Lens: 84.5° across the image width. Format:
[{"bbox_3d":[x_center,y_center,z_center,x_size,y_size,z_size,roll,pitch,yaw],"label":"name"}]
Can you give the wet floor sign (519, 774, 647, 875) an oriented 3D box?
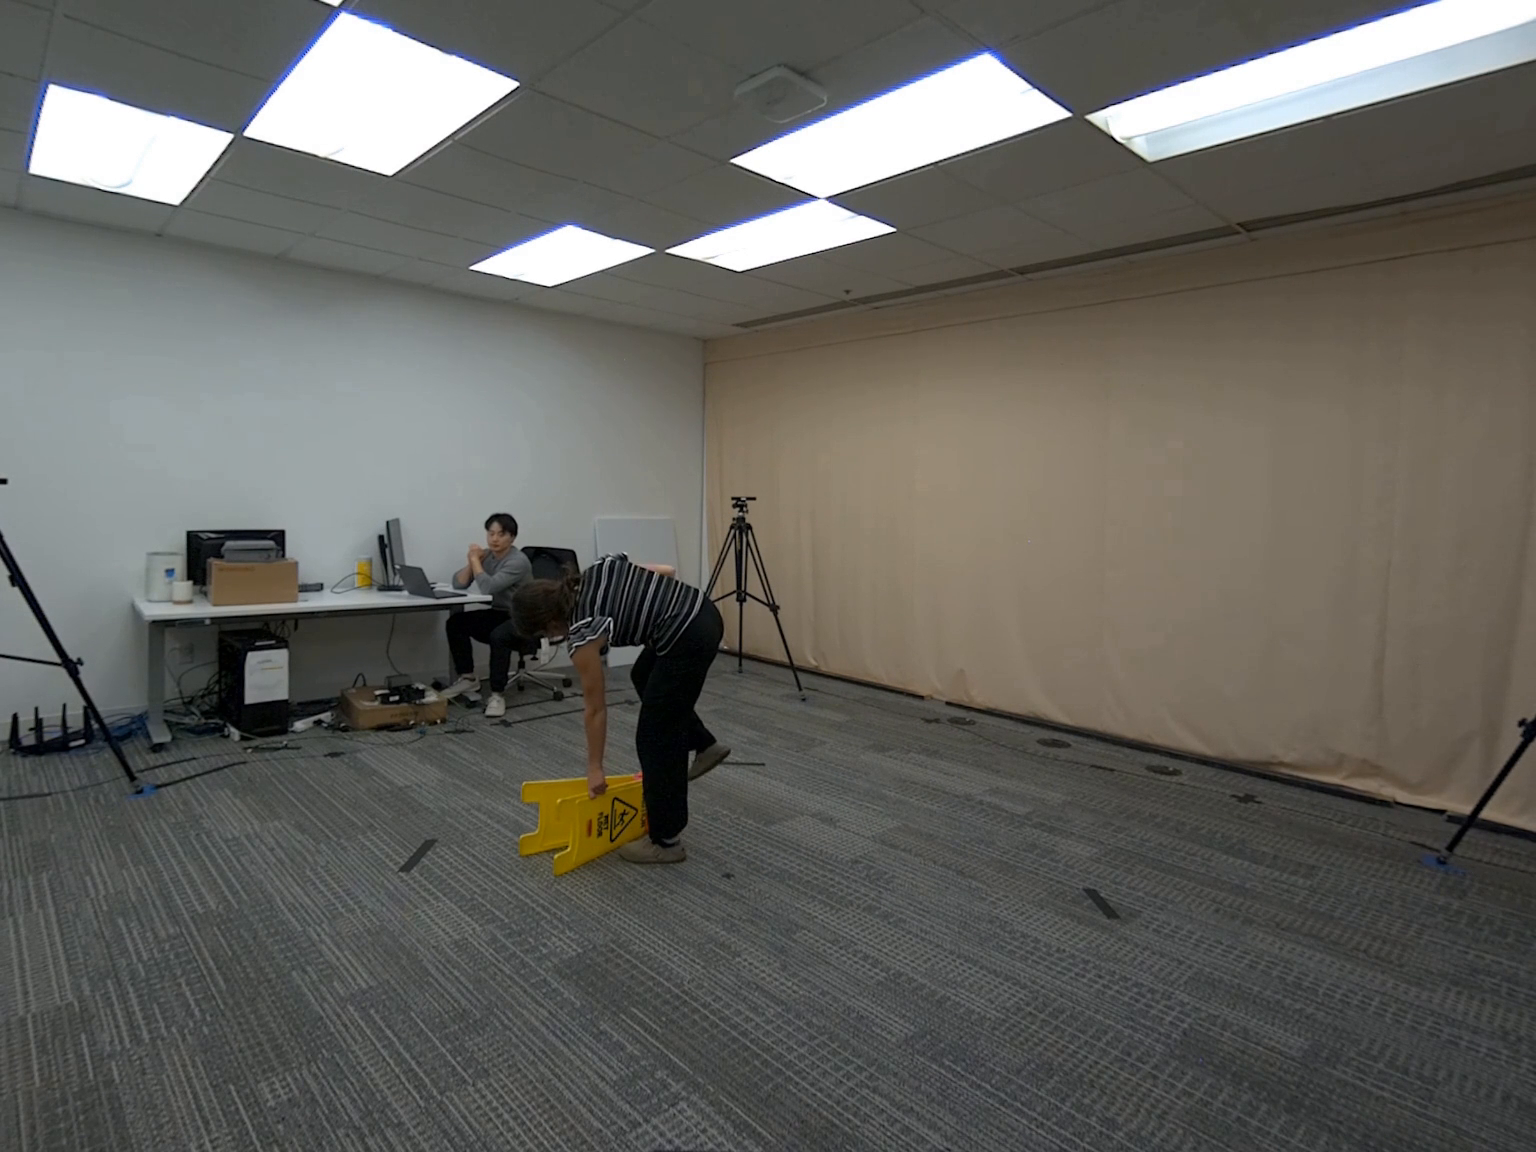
[{"bbox_3d":[-0.654,0.947,3.378,0.297,0.282,0.630,4,2,43],"label":"wet floor sign"}]
